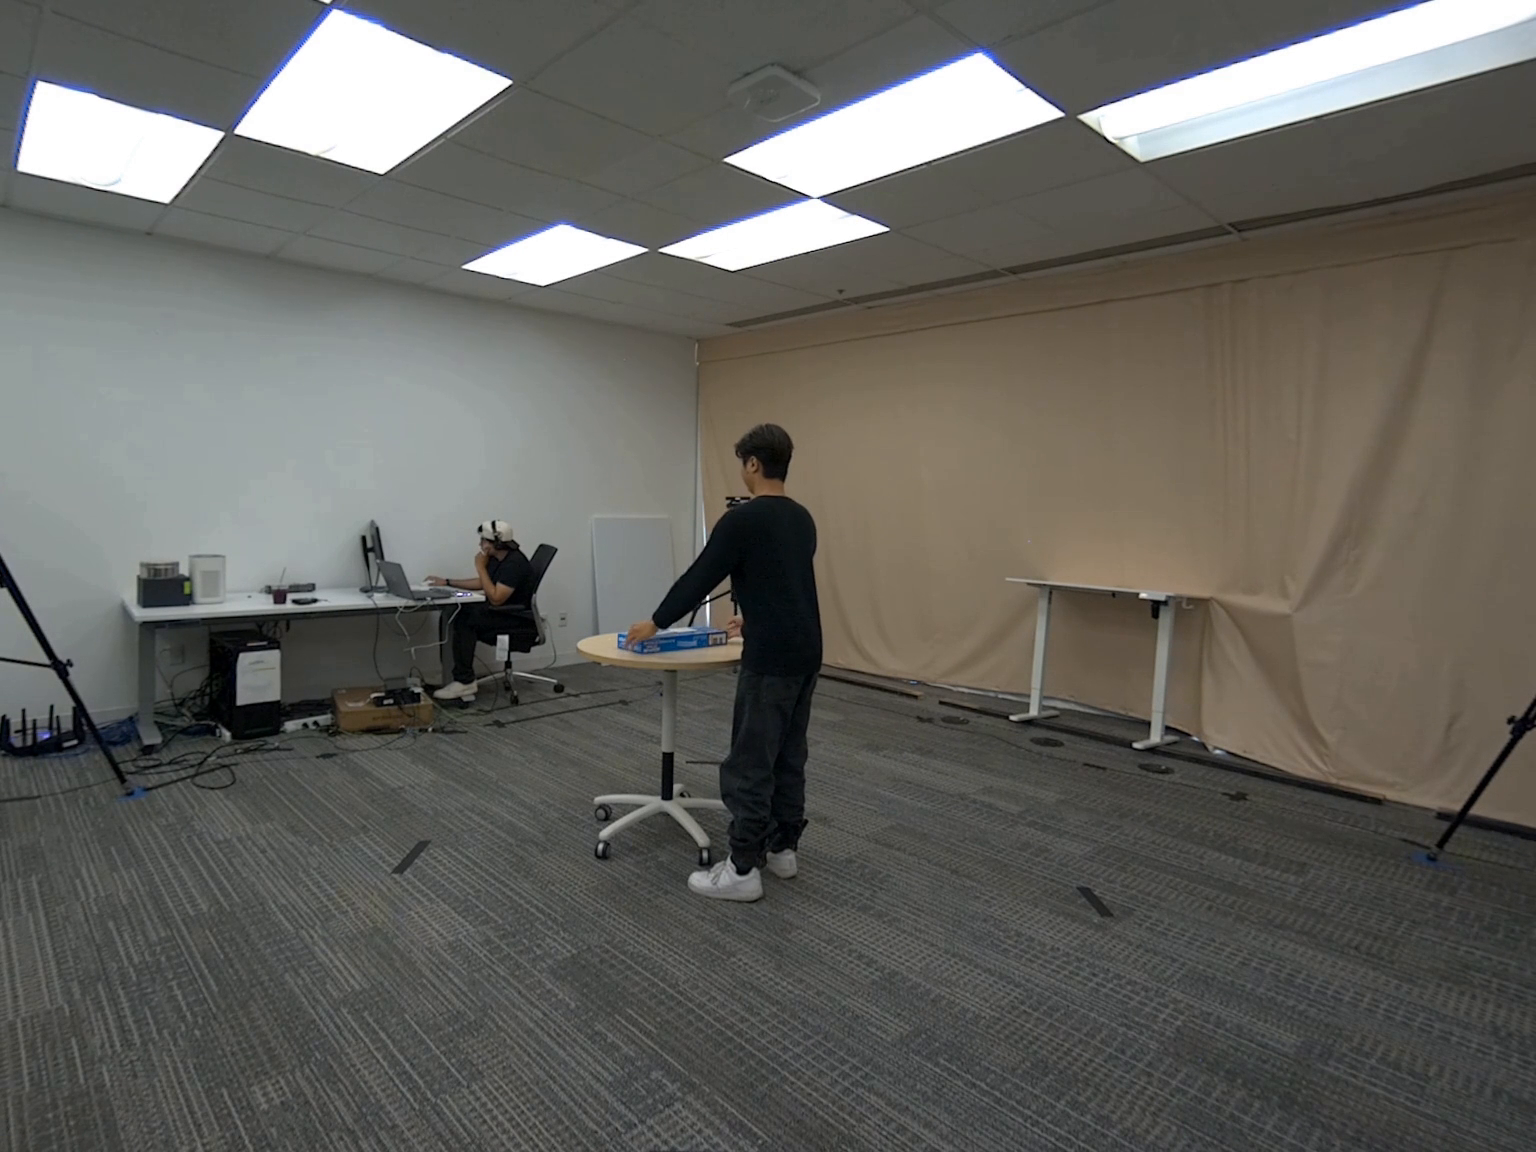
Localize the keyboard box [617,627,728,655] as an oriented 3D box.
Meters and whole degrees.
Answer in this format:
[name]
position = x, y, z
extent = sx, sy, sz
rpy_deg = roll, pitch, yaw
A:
[keyboard box]
position = -0.390, 0.260, 3.430
extent = 0.427, 0.059, 0.180
rpy_deg = -2, 5, -44
